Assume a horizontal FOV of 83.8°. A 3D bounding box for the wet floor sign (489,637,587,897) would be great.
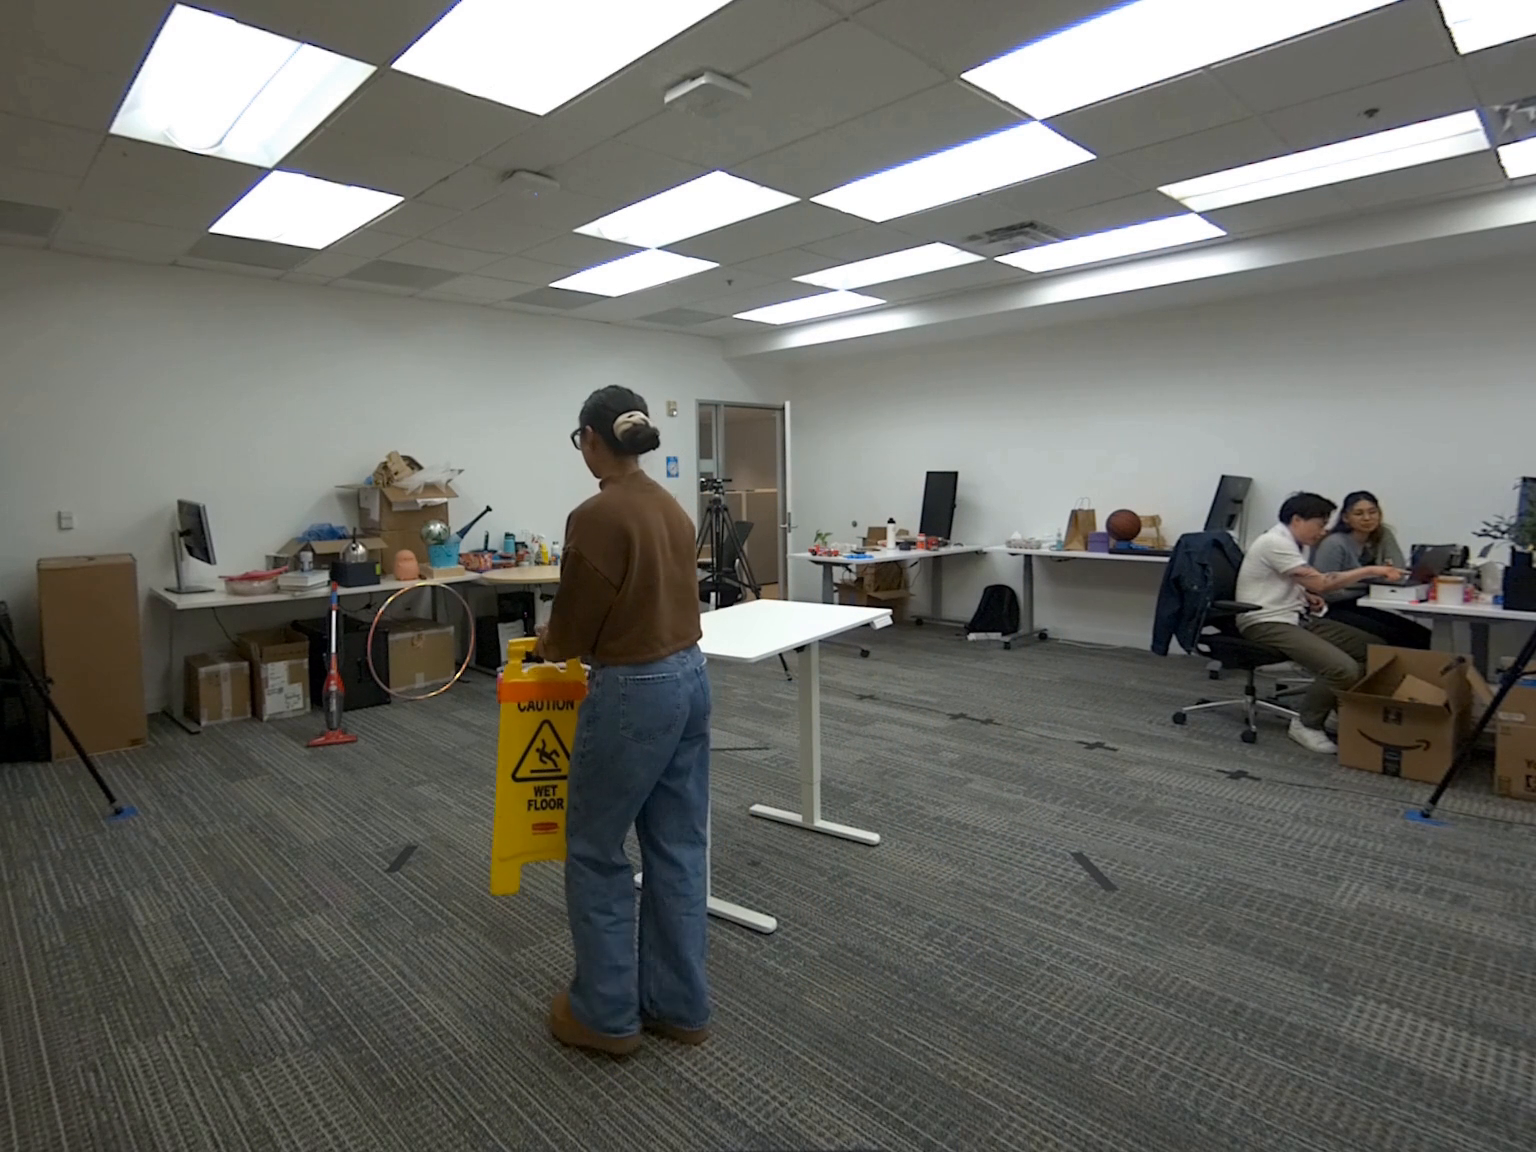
[{"bbox_3d":[-0.618,0.500,2.362,0.278,0.644,0.294,-2,4,-15],"label":"wet floor sign"}]
